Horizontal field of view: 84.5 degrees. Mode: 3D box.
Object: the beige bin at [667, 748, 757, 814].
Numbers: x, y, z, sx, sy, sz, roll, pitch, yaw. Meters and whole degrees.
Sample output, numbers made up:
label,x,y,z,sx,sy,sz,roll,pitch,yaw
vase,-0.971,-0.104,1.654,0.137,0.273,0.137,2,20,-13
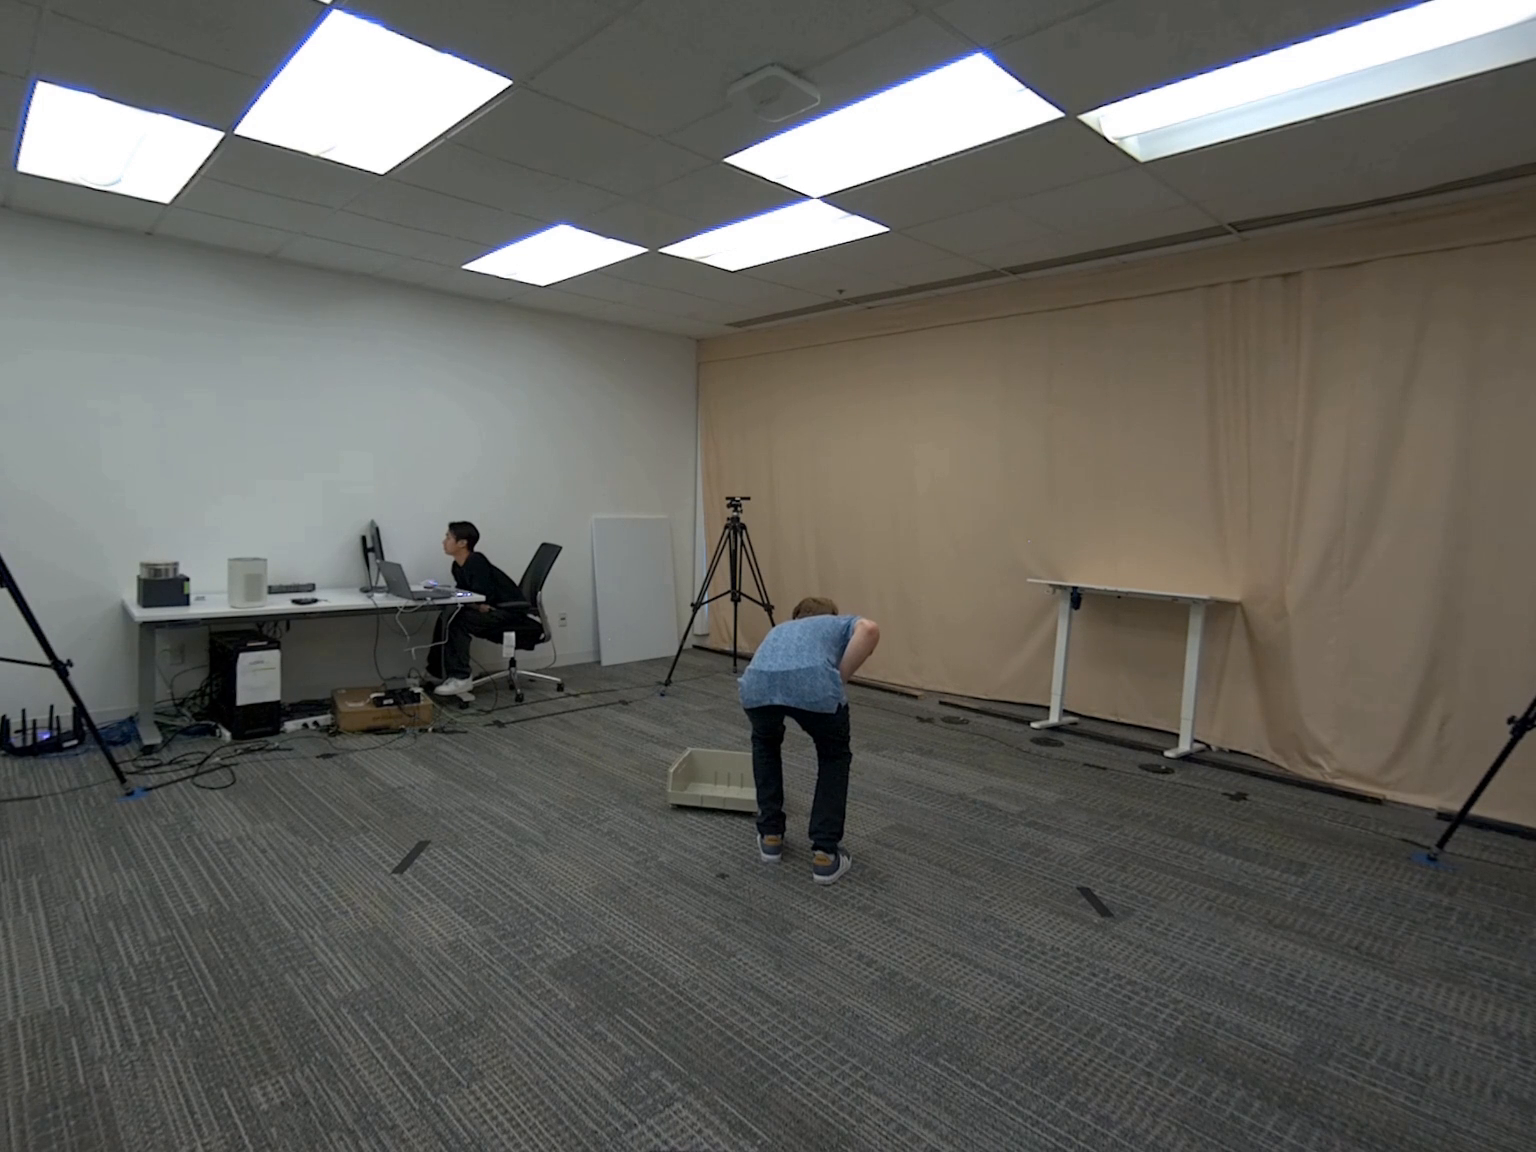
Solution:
label,x,y,z,sx,sy,sz,roll,pitch,yaw
beige bin,-0.222,0.948,3.879,0.426,0.188,0.375,2,4,10
